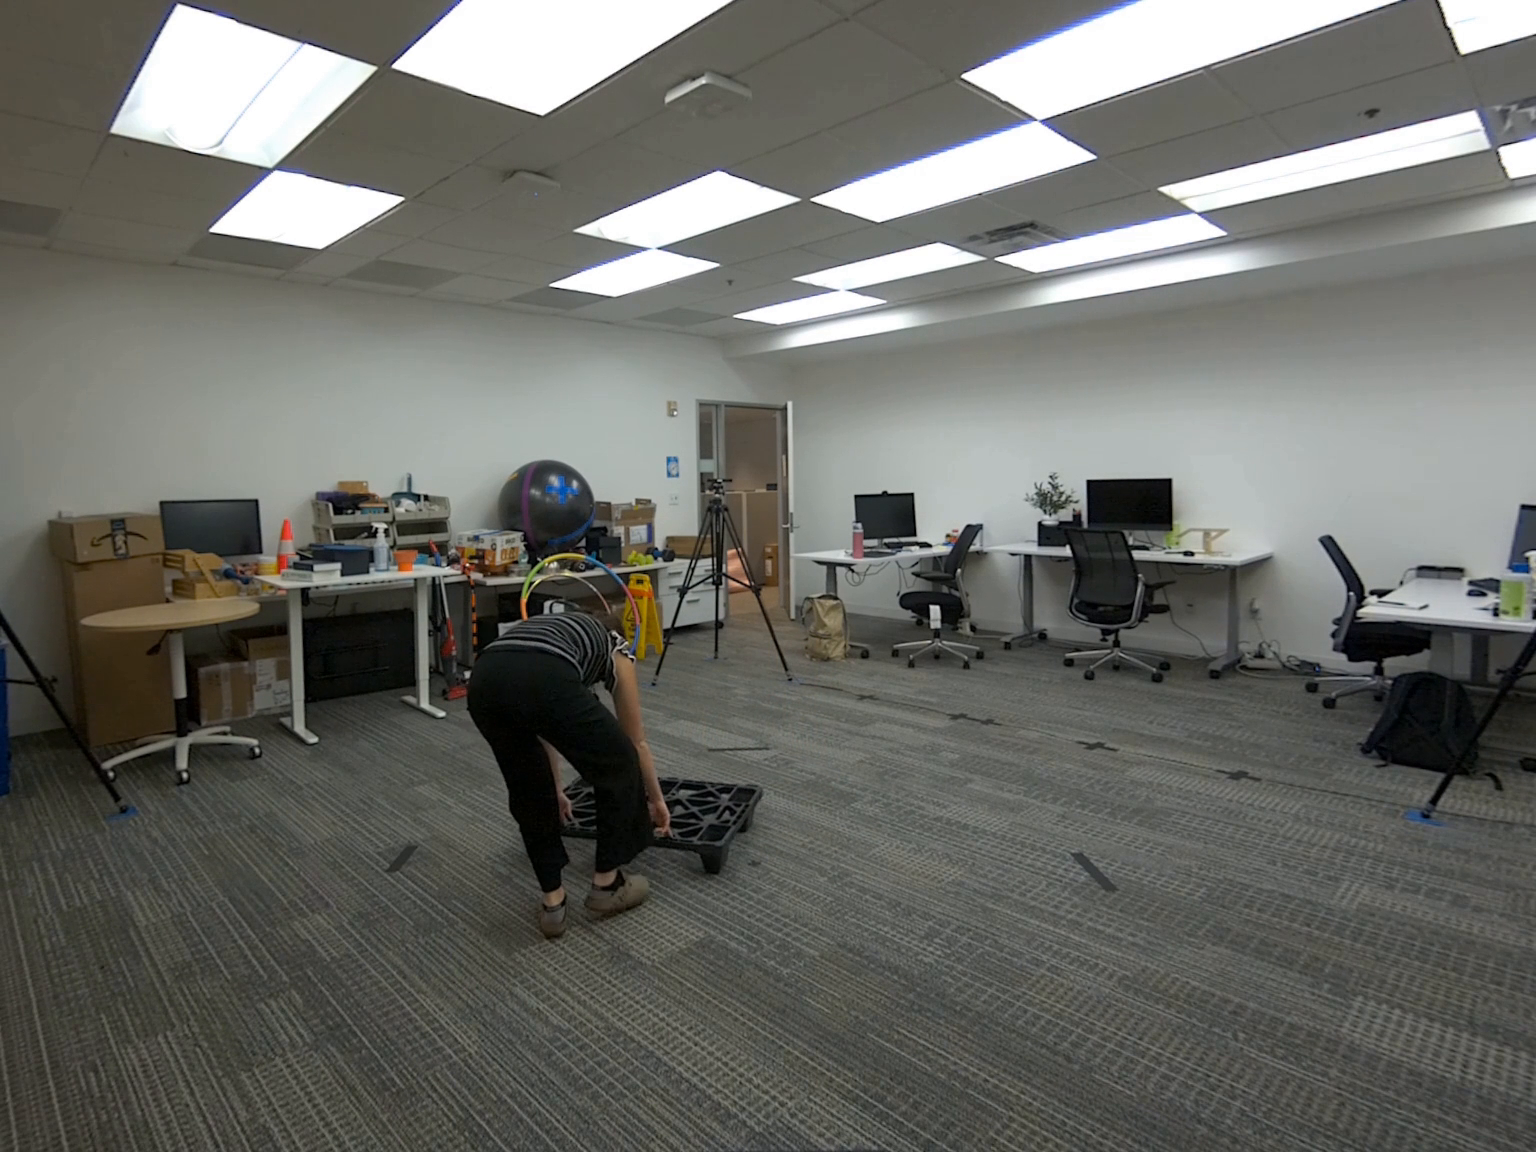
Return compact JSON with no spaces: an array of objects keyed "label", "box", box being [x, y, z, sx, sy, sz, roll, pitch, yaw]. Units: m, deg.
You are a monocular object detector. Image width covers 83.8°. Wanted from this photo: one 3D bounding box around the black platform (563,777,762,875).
[{"label":"black platform","box":[-0.473,0.953,3.354,0.818,0.143,0.598,1,6,15]}]
